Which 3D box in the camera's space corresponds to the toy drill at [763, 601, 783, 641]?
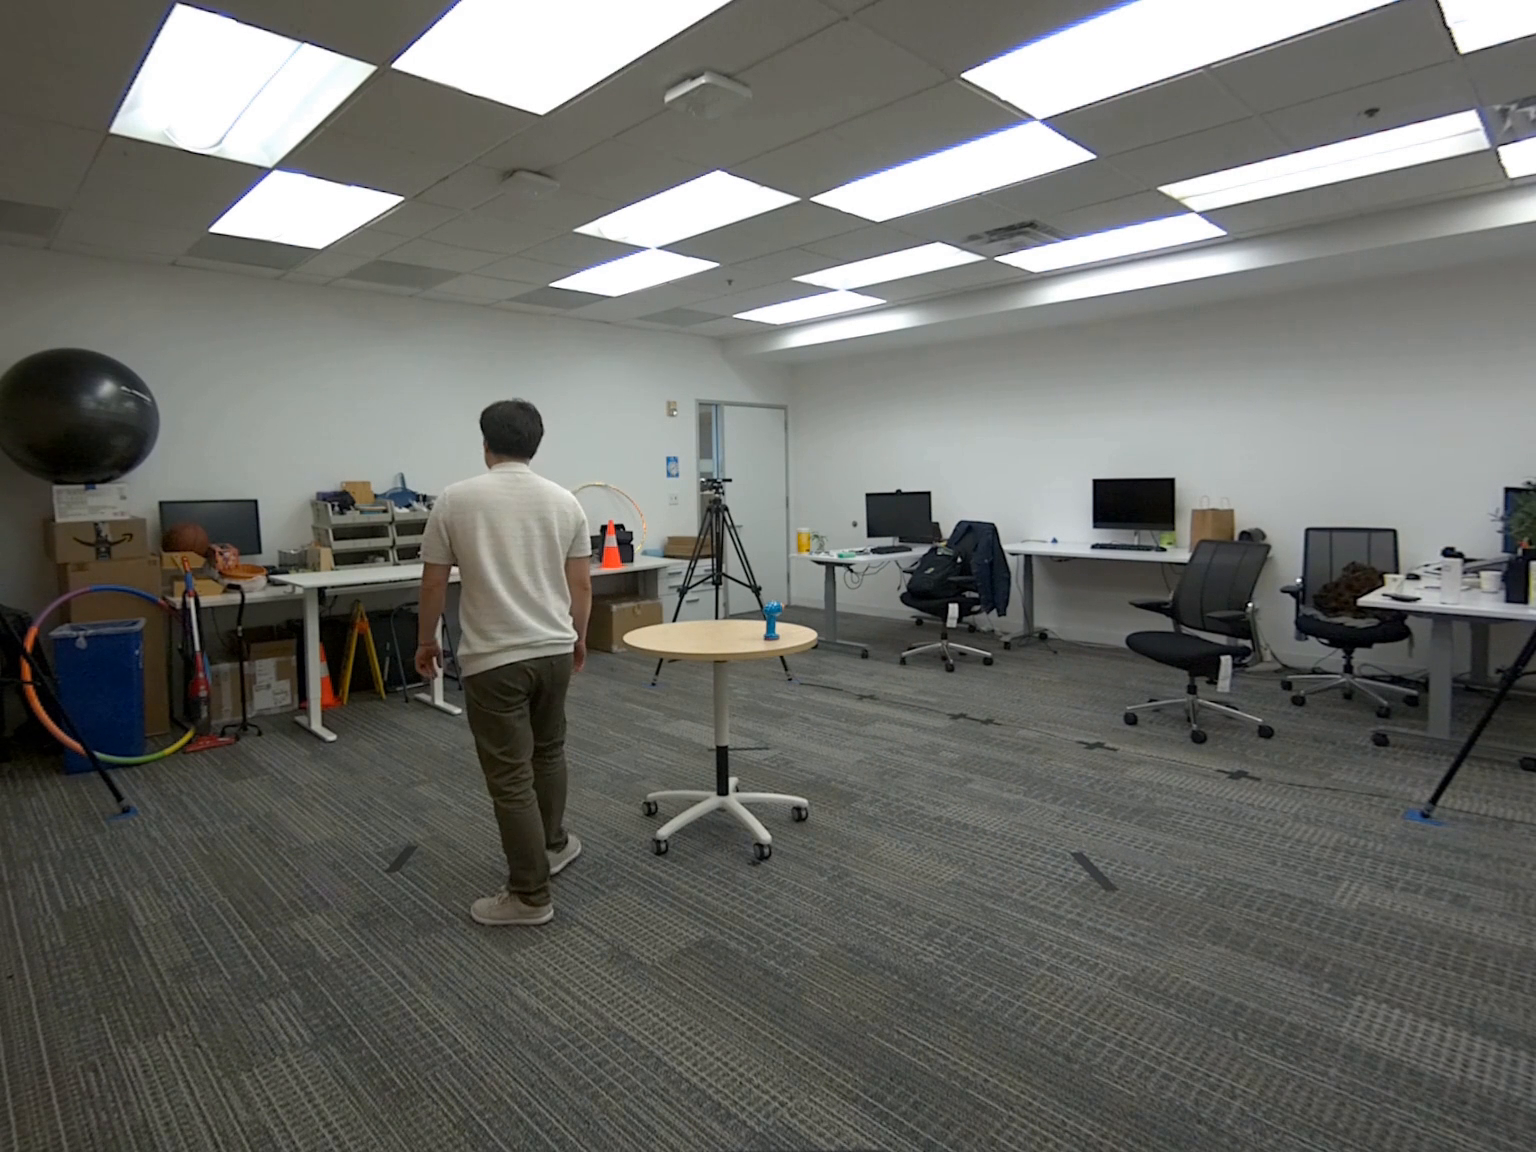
[{"bbox_3d":[0.023,0.163,3.290,0.062,0.145,0.167,1,4,16],"label":"toy drill"}]
